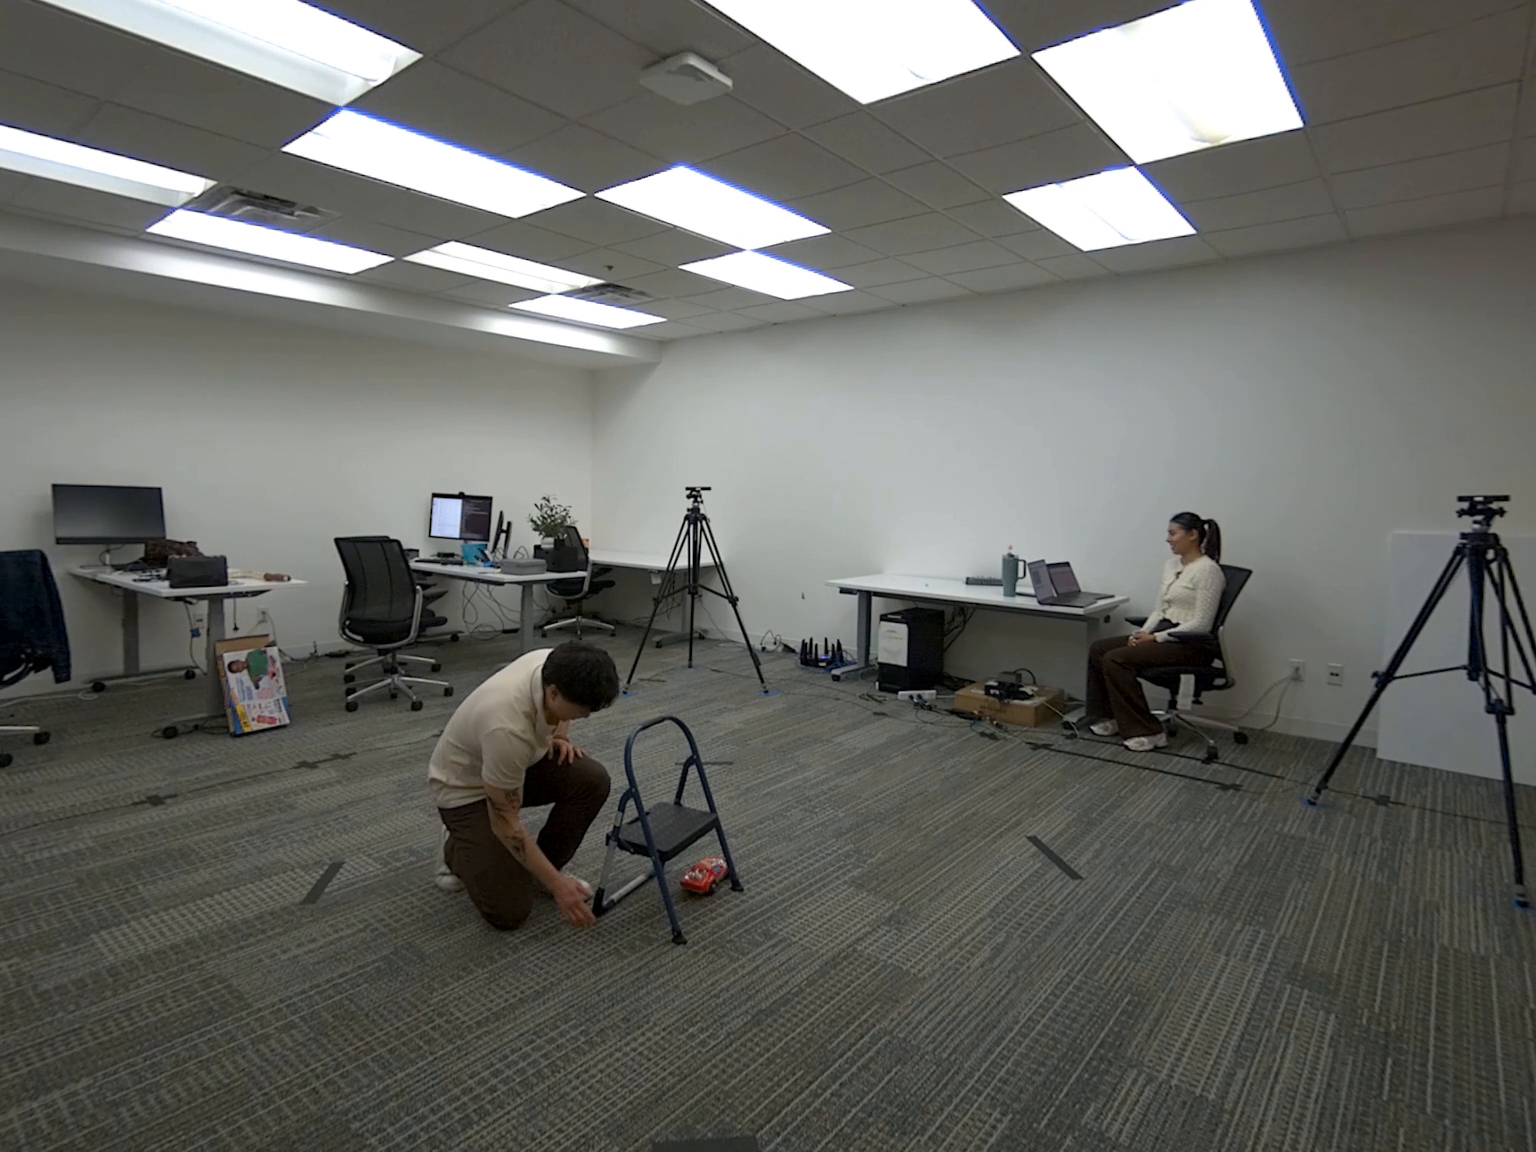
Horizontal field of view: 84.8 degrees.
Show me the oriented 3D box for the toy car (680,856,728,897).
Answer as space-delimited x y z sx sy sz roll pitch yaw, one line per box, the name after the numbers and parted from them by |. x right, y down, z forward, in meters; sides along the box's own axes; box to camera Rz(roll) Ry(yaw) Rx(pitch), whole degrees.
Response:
-0.233 1.051 2.960 0.134 0.083 0.247 4 -5 26 | toy car
